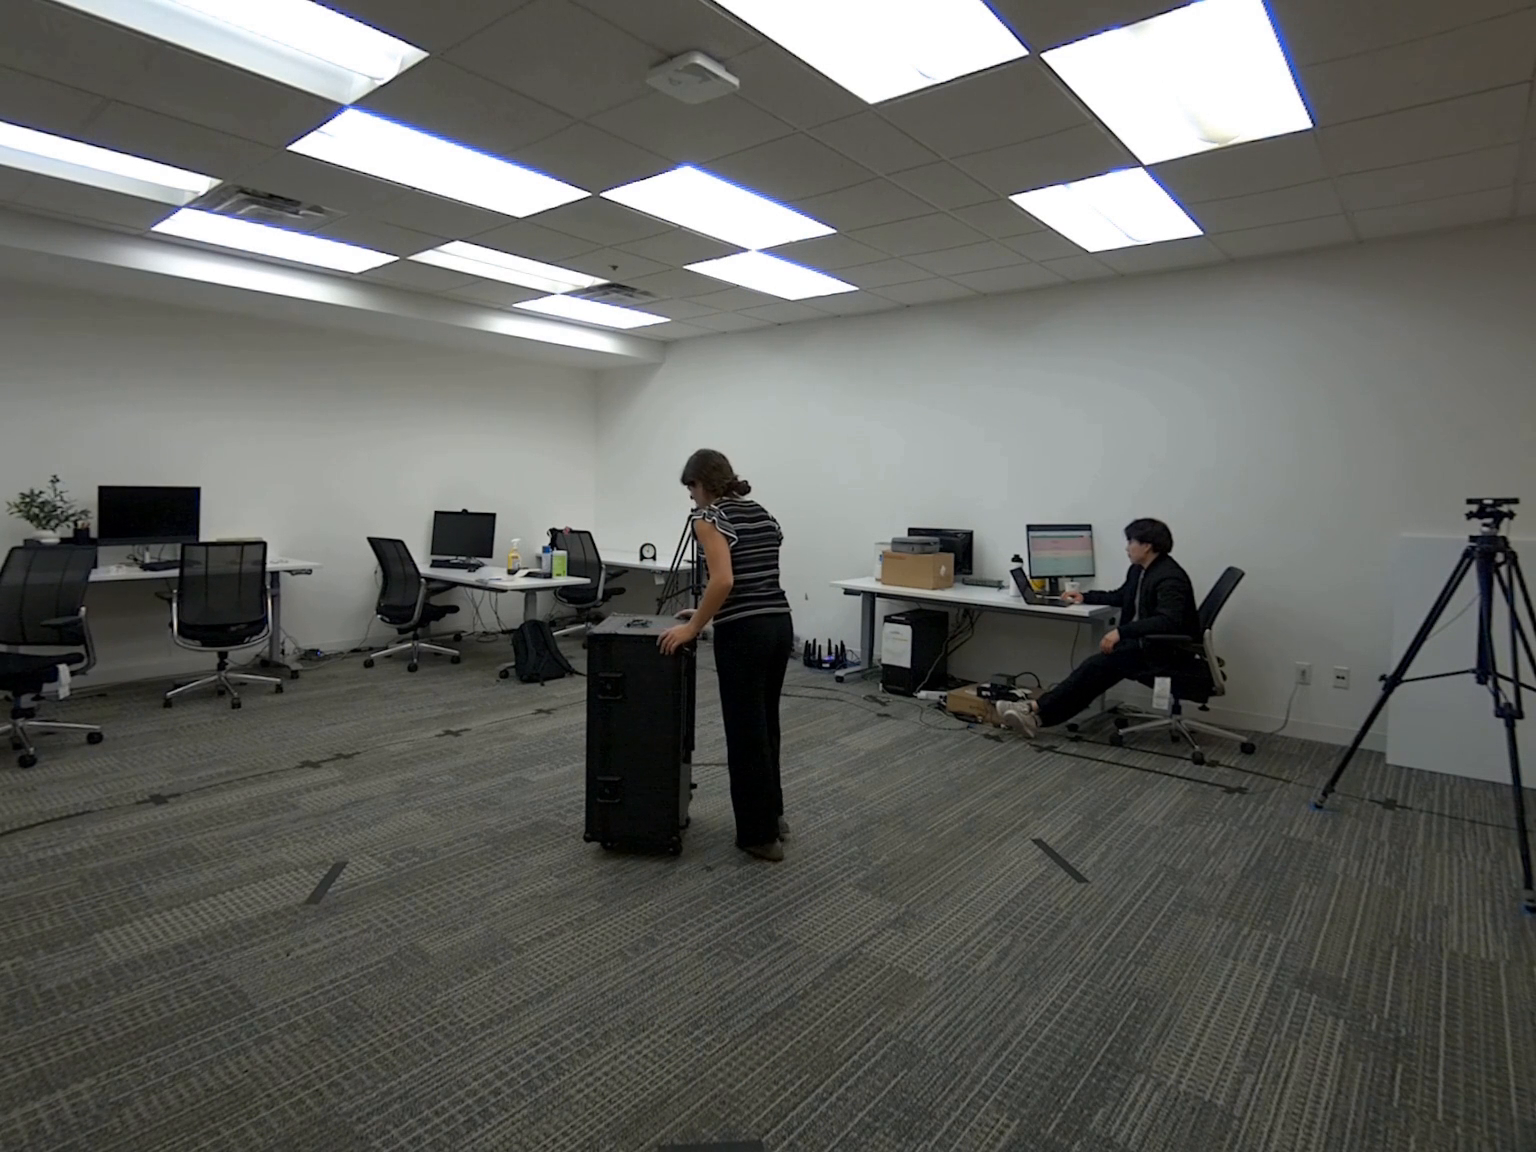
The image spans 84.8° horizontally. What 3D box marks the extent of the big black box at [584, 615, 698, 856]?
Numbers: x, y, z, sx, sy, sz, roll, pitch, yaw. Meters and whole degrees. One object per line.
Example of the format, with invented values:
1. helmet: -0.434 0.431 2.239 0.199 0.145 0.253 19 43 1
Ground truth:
1. big black box: -0.496 0.609 3.366 0.398 0.859 0.521 2 4 2
